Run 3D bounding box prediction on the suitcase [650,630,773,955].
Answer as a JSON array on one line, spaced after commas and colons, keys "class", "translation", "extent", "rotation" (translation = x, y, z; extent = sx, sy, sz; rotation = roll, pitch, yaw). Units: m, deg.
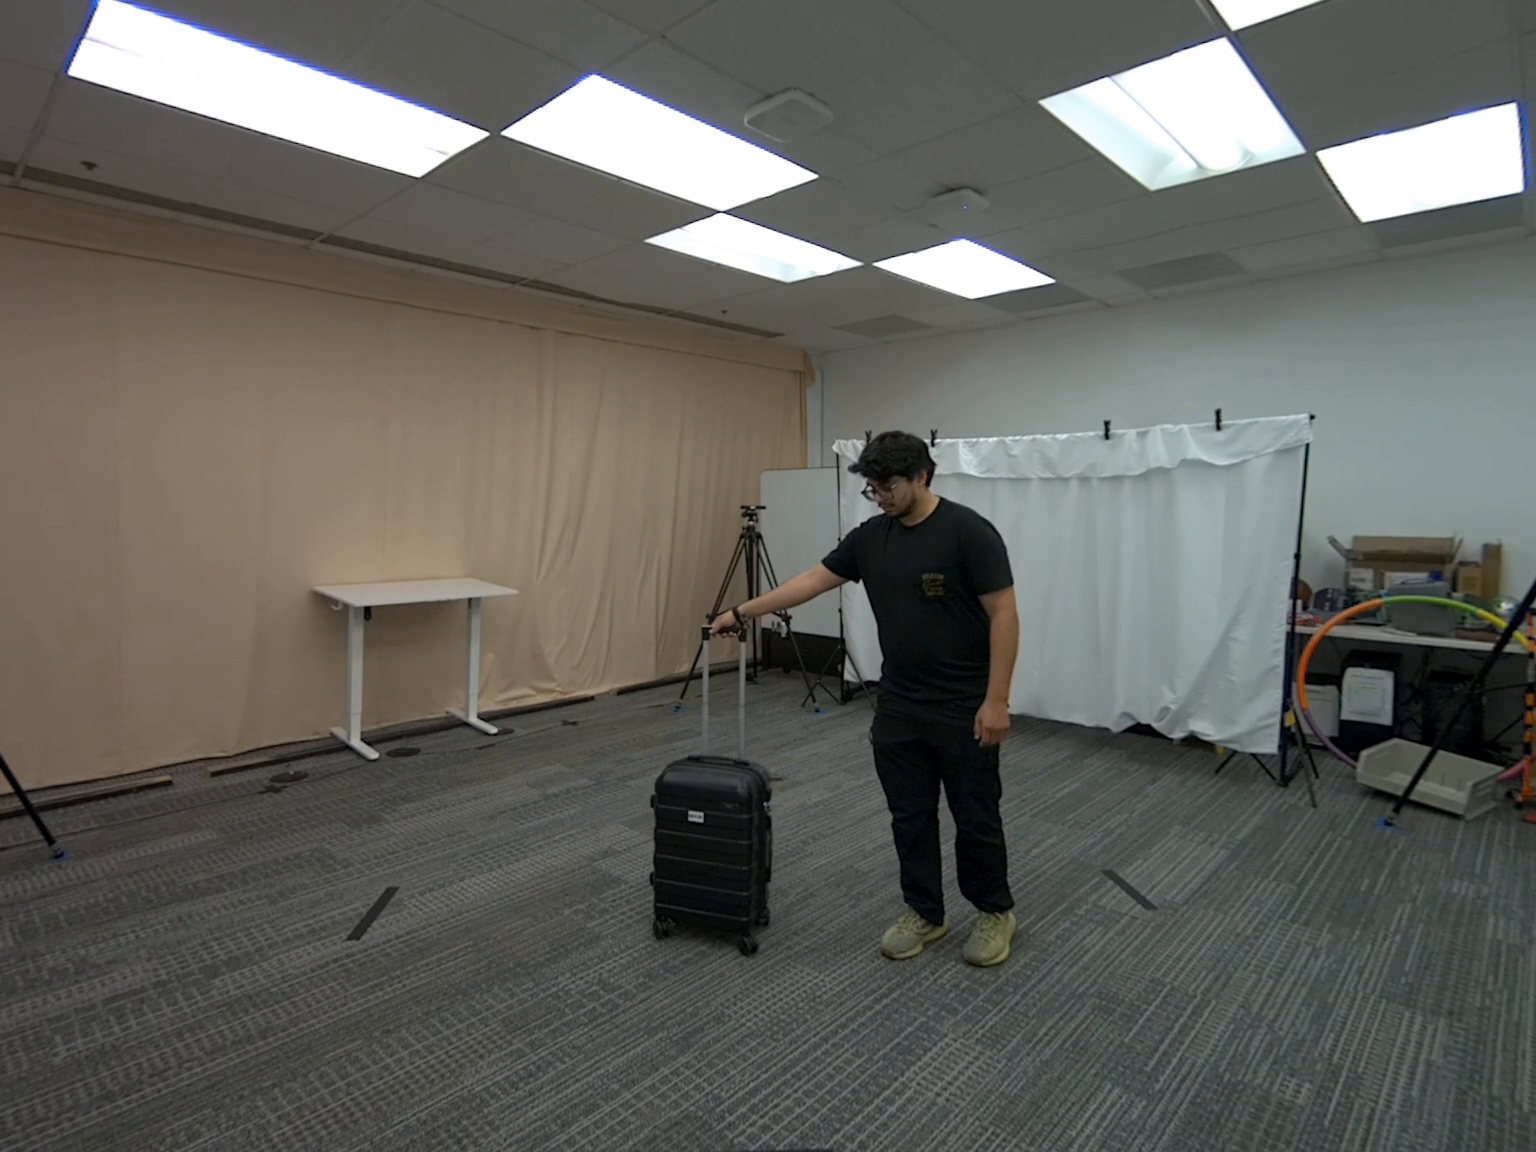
[{"class": "suitcase", "translation": [-0.175, 0.687, 2.756], "extent": [0.391, 0.976, 0.253], "rotation": [1, 4, 16]}]
